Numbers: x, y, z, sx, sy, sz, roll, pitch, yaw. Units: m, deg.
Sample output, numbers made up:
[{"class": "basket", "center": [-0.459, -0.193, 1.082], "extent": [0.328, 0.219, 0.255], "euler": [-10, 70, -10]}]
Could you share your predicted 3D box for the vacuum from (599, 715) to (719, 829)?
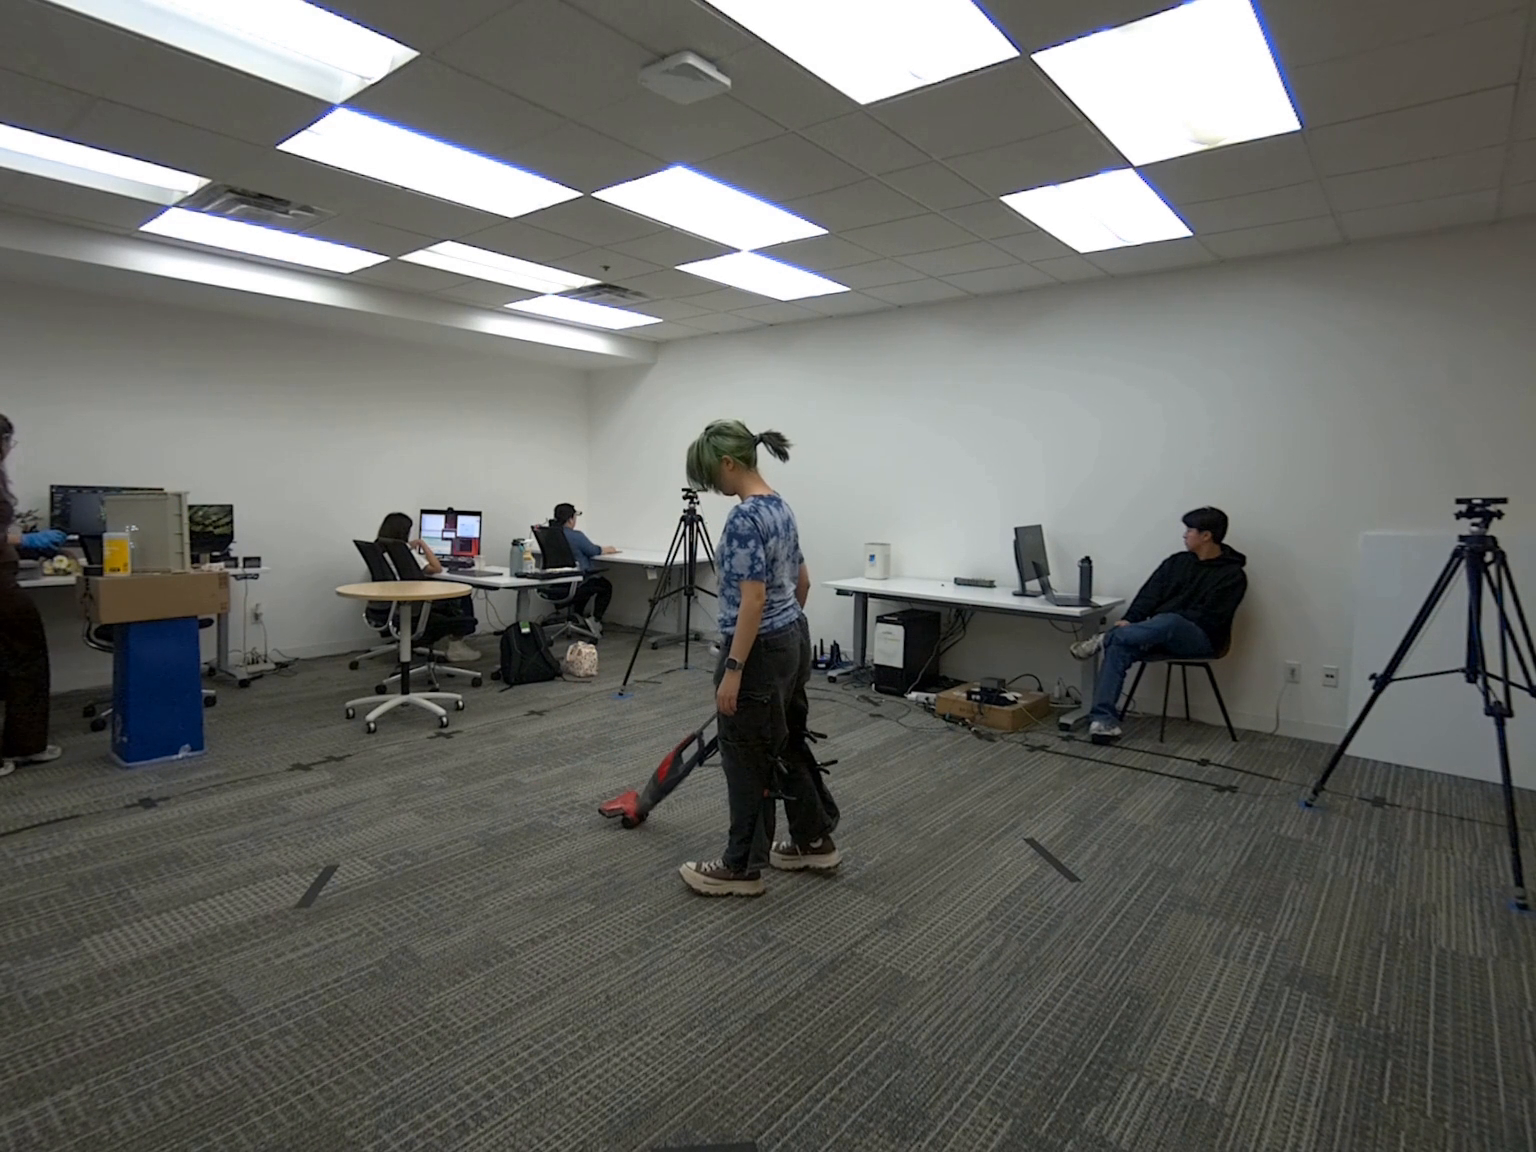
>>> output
[{"class": "vacuum", "center": [-0.274, 0.646, 3.358], "extent": [1.050, 0.147, 0.246], "euler": [-45, -17, 22]}]
